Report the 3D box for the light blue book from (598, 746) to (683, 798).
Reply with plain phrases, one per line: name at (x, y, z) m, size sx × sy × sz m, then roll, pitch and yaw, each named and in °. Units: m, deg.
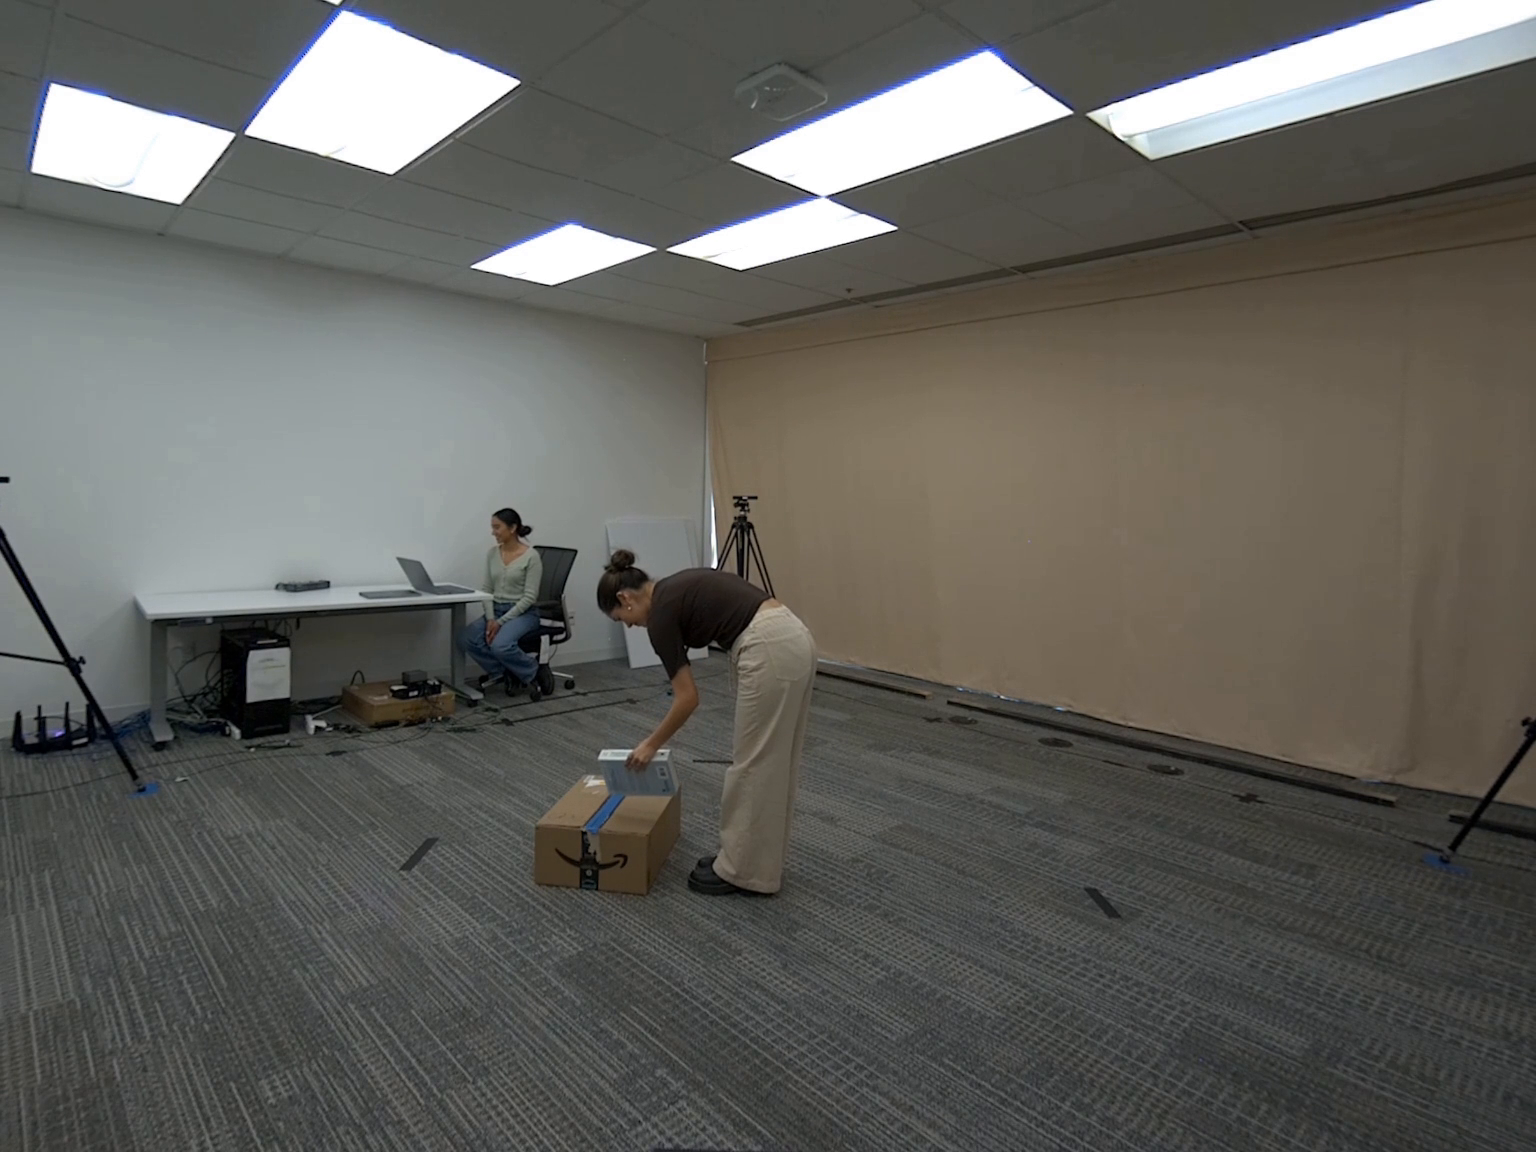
light blue book at (-0.462, 0.709, 3.059) m, size 0.263 × 0.187 × 0.060 m, roll -3°, pitch 31°, yaw 11°
